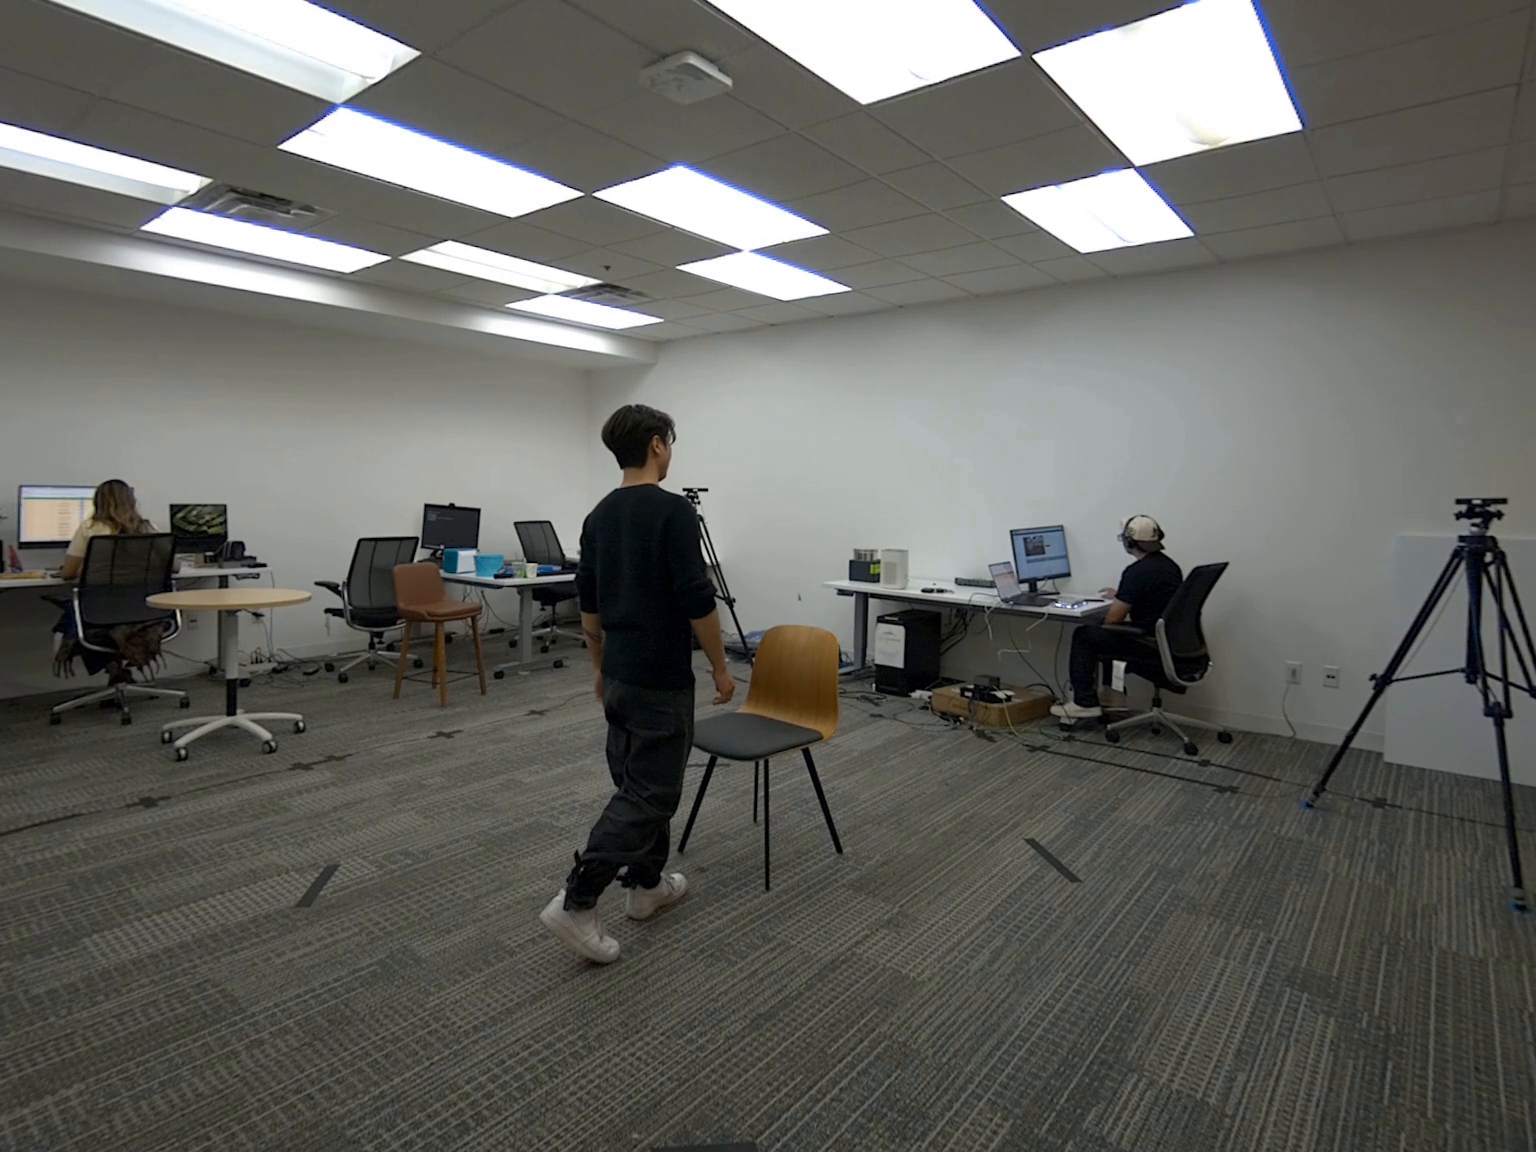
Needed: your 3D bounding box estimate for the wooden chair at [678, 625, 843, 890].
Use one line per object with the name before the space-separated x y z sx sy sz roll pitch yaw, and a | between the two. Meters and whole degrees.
wooden chair | -0.032 0.633 3.233 0.494 0.877 0.506 5 1 41
